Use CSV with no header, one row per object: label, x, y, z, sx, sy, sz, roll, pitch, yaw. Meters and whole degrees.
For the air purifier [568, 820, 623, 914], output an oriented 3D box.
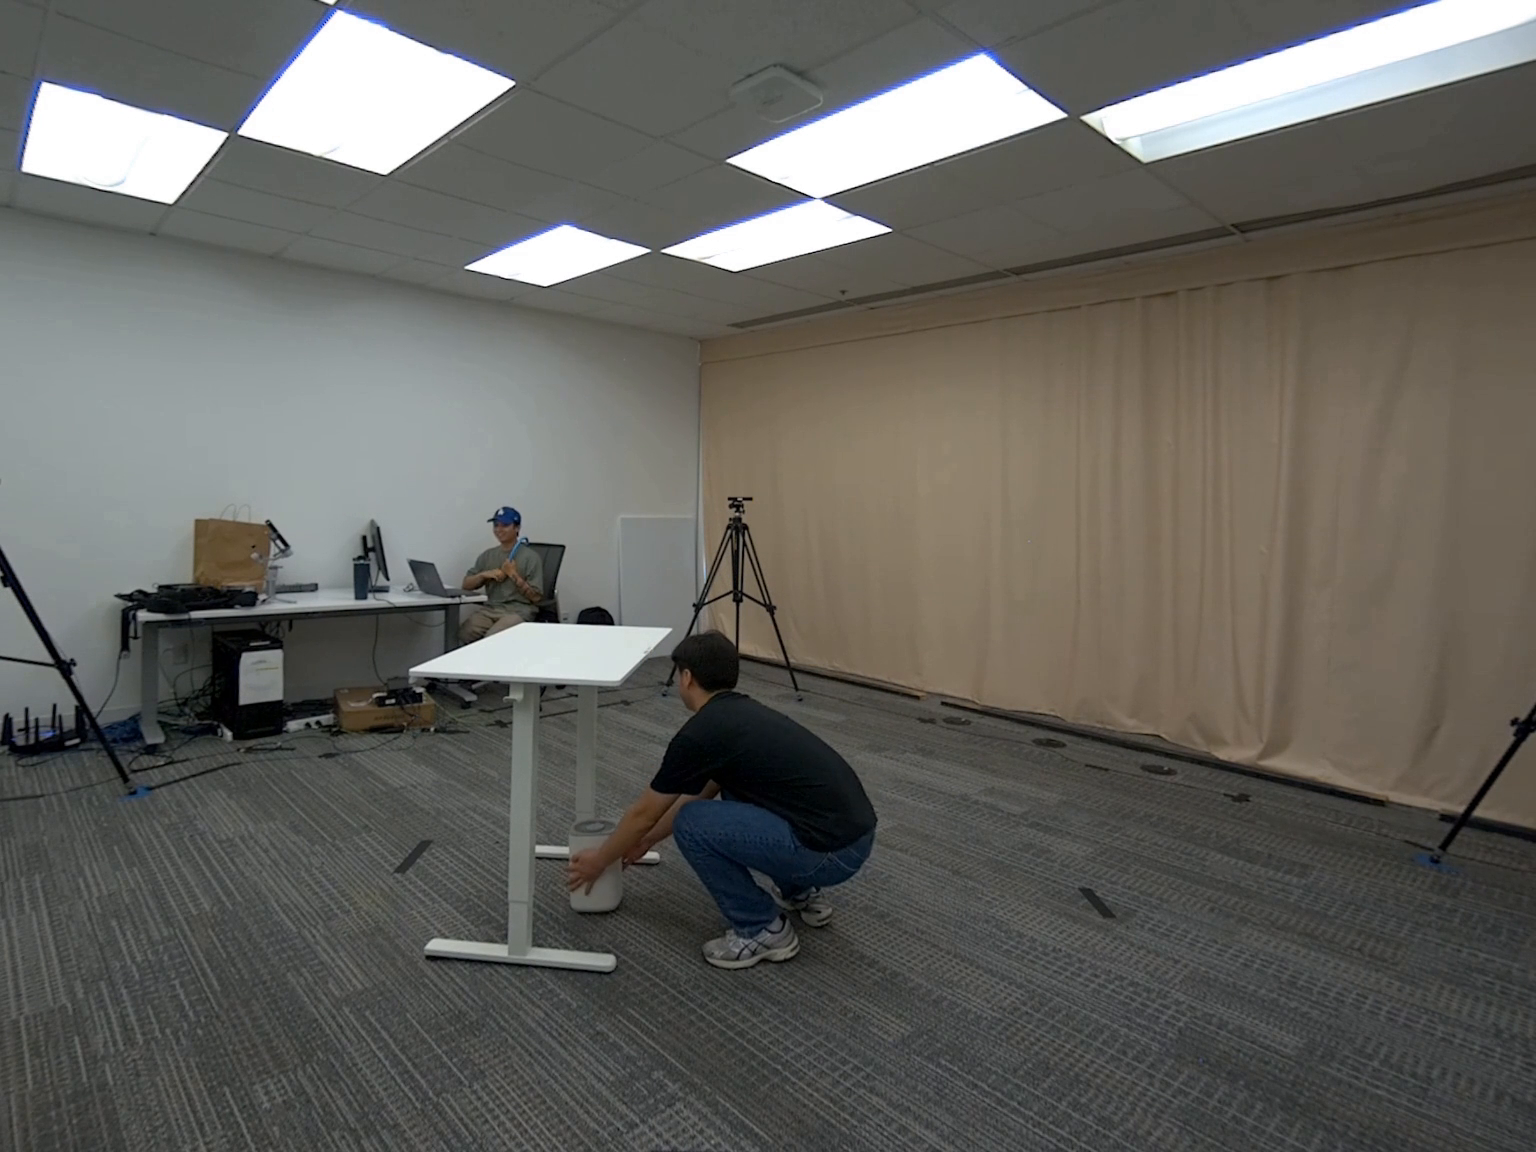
air purifier,-0.586,0.975,2.861,0.171,0.265,0.172,-2,0,-3
